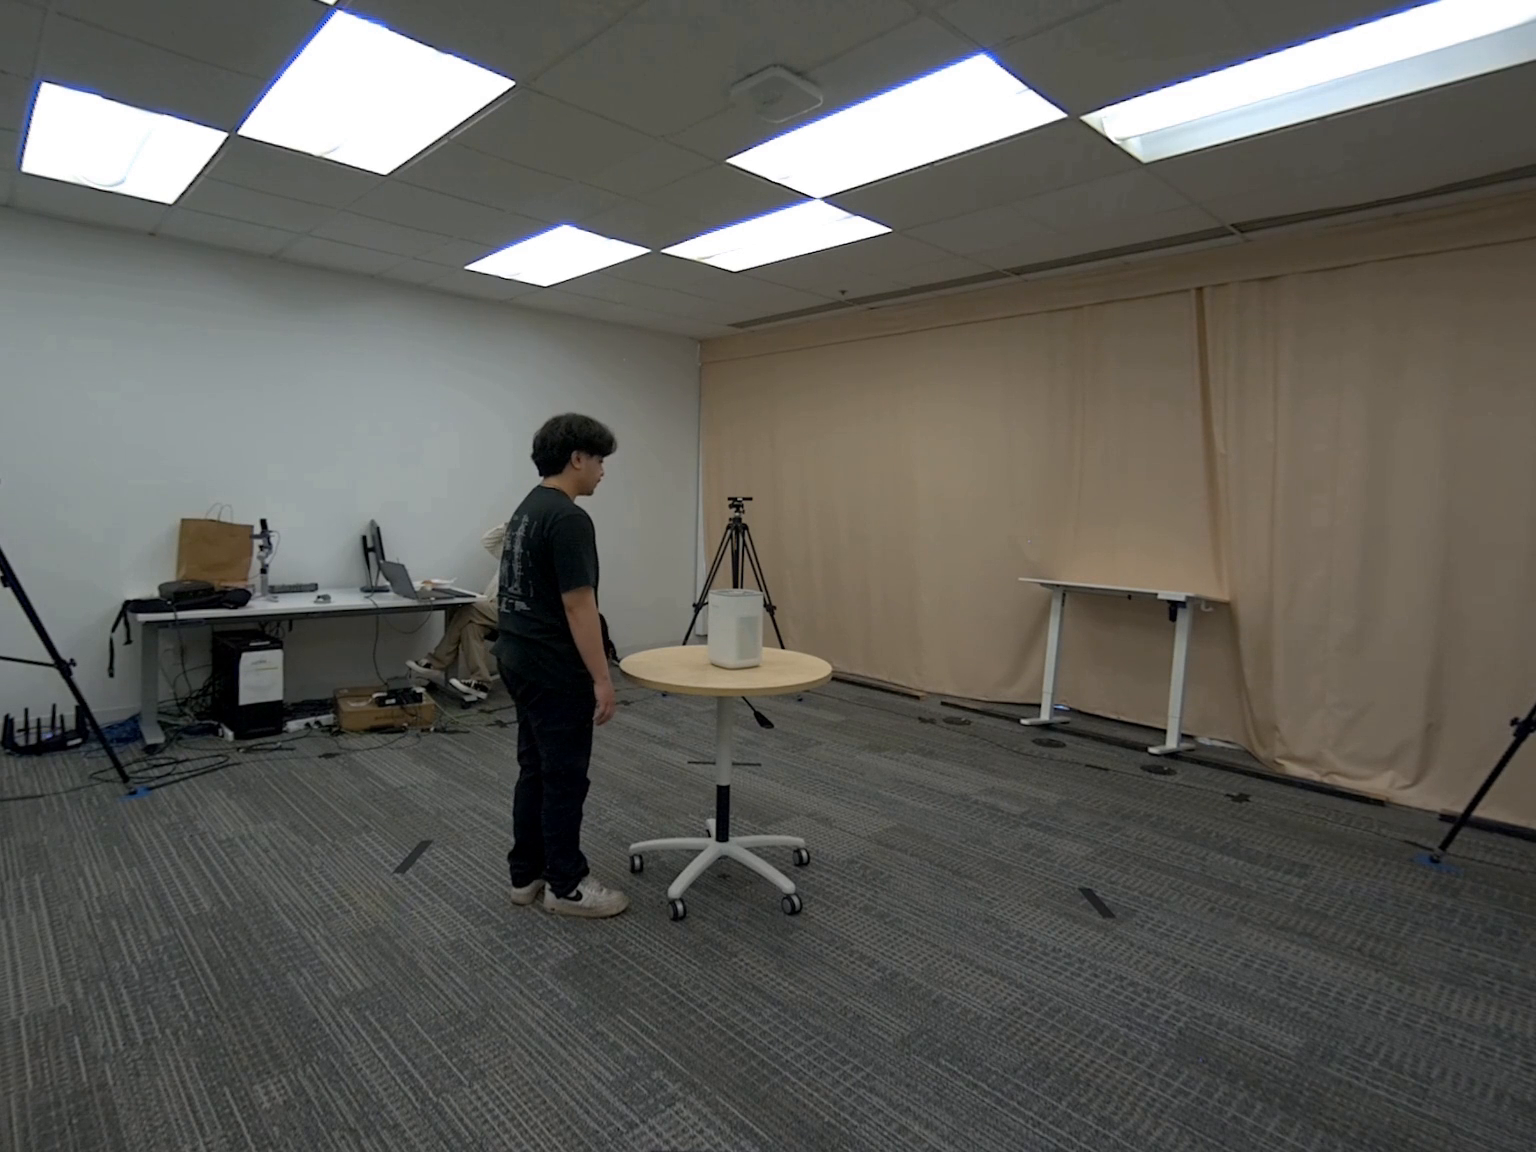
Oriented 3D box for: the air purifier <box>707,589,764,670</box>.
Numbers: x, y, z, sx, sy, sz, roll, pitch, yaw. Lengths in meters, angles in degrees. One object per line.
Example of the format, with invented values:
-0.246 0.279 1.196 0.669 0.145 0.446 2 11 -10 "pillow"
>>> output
-0.118 0.190 3.024 0.168 0.265 0.175 -1 5 -37 "air purifier"
